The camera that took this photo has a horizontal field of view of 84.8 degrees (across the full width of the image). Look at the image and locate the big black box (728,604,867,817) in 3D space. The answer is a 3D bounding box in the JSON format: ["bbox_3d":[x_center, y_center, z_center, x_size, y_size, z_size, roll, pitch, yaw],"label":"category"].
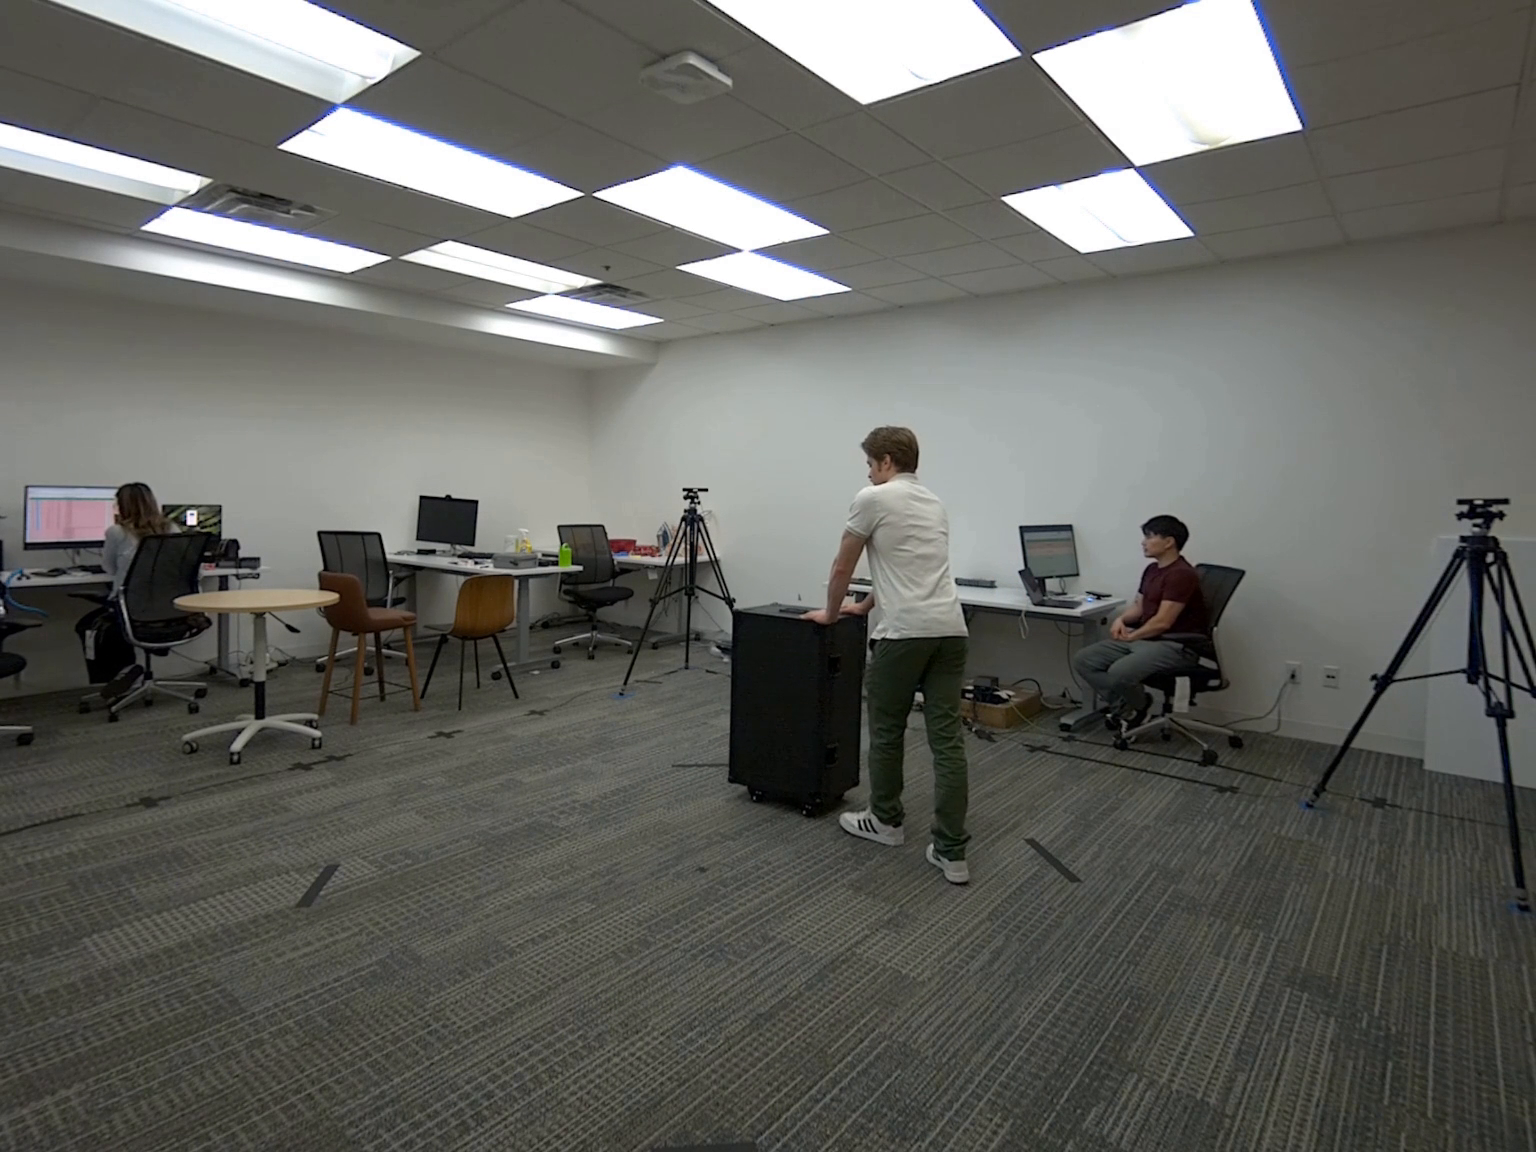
[{"bbox_3d":[0.111,0.581,3.833,0.540,0.866,0.374,4,4,35],"label":"big black box"}]
